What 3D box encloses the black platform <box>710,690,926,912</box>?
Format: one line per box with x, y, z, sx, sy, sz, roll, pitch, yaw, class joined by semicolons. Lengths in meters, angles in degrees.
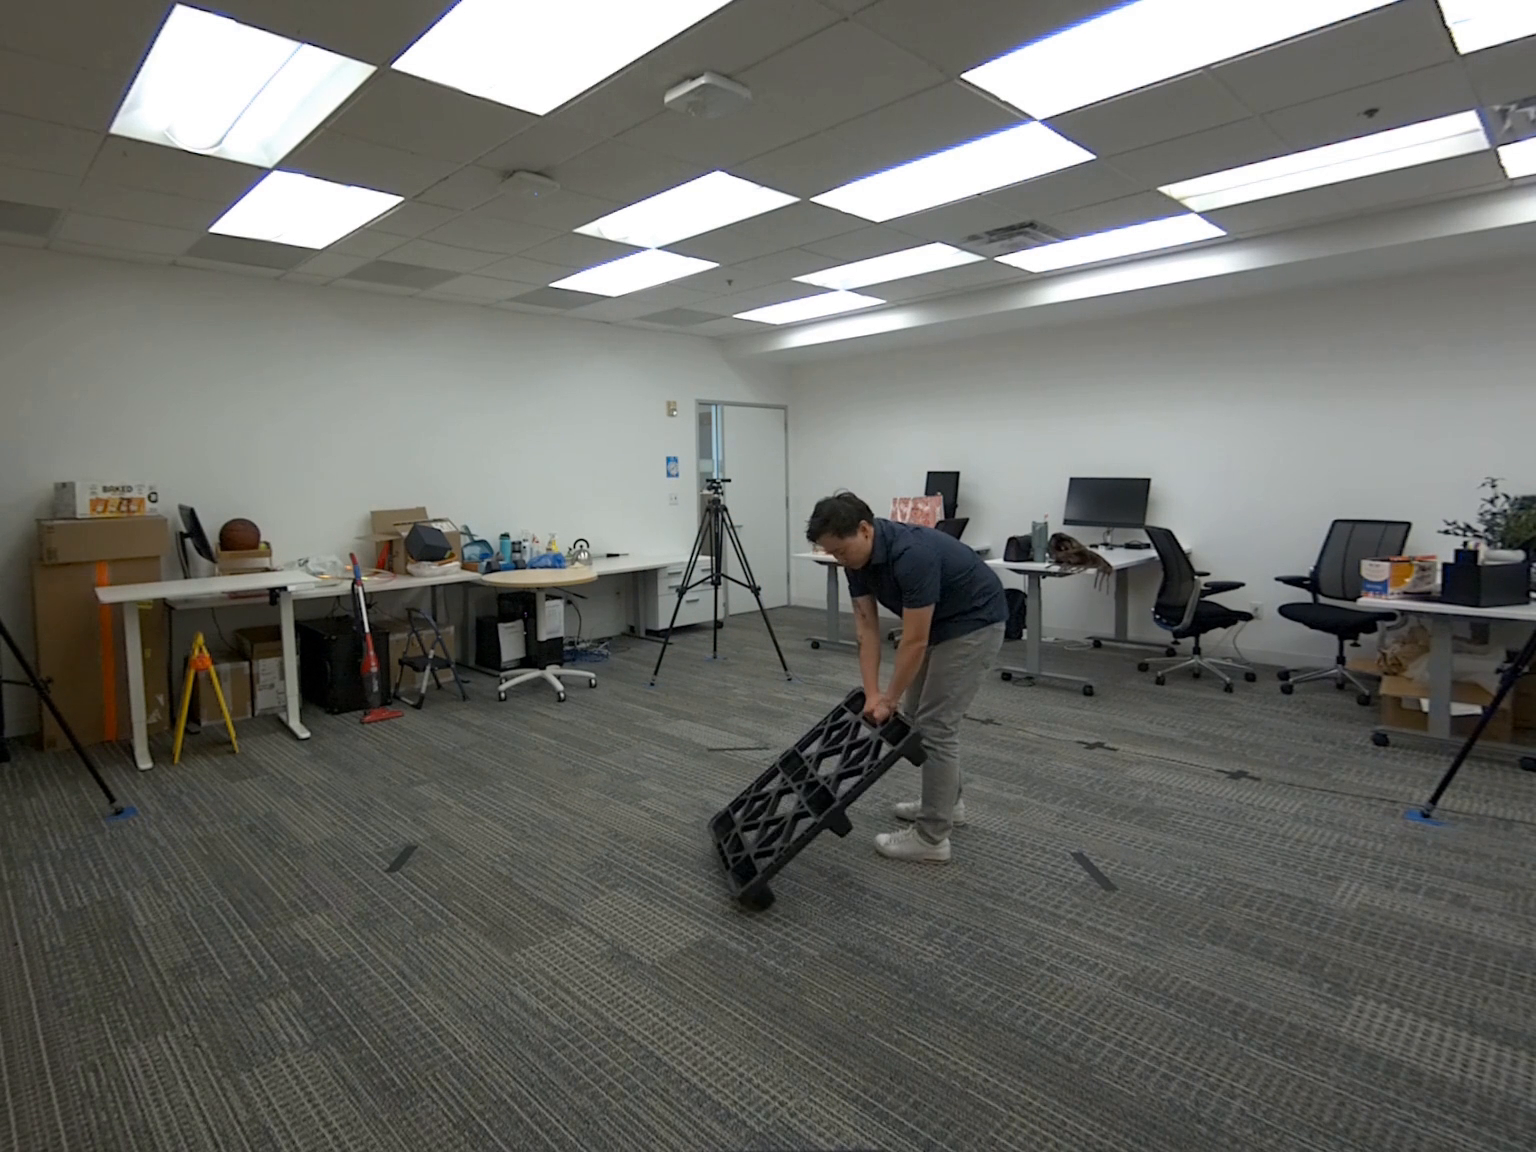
0.183;0.763;3.016;0.805;0.141;0.615;-42;14;-5;black platform
